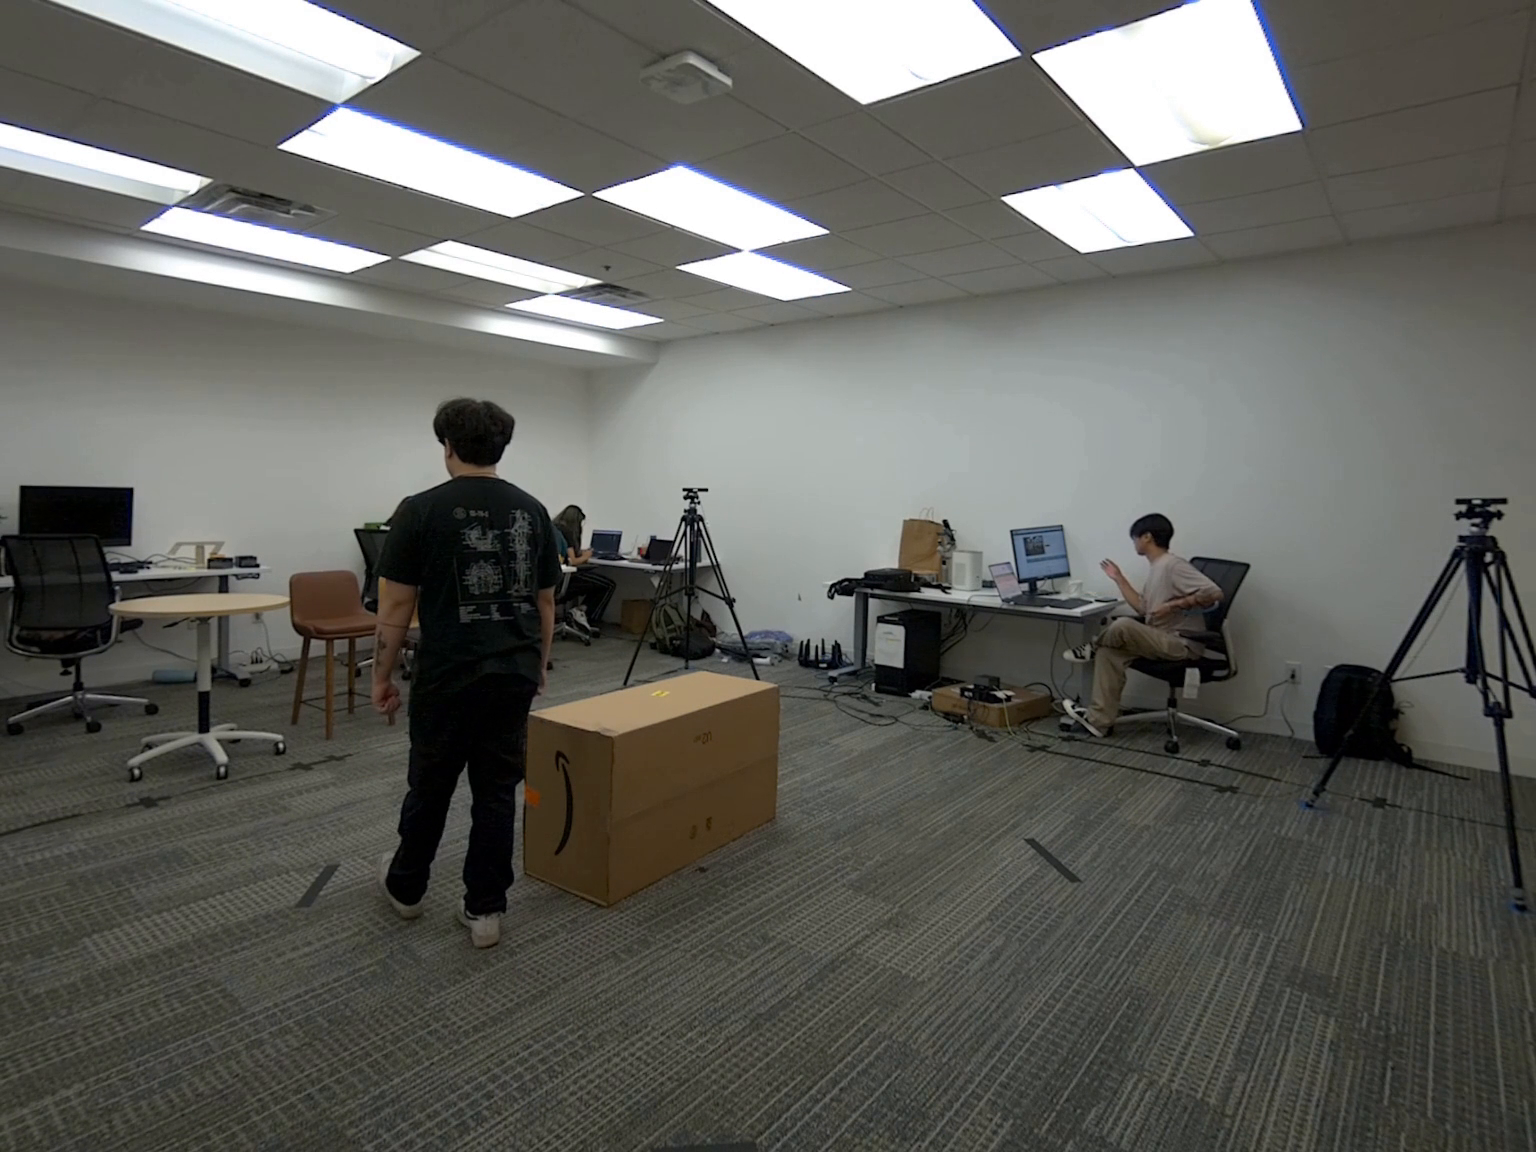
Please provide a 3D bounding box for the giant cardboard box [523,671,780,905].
[{"bbox_3d":[-0.424,0.759,3.322,0.461,0.582,0.998,3,4,34],"label":"giant cardboard box"}]
